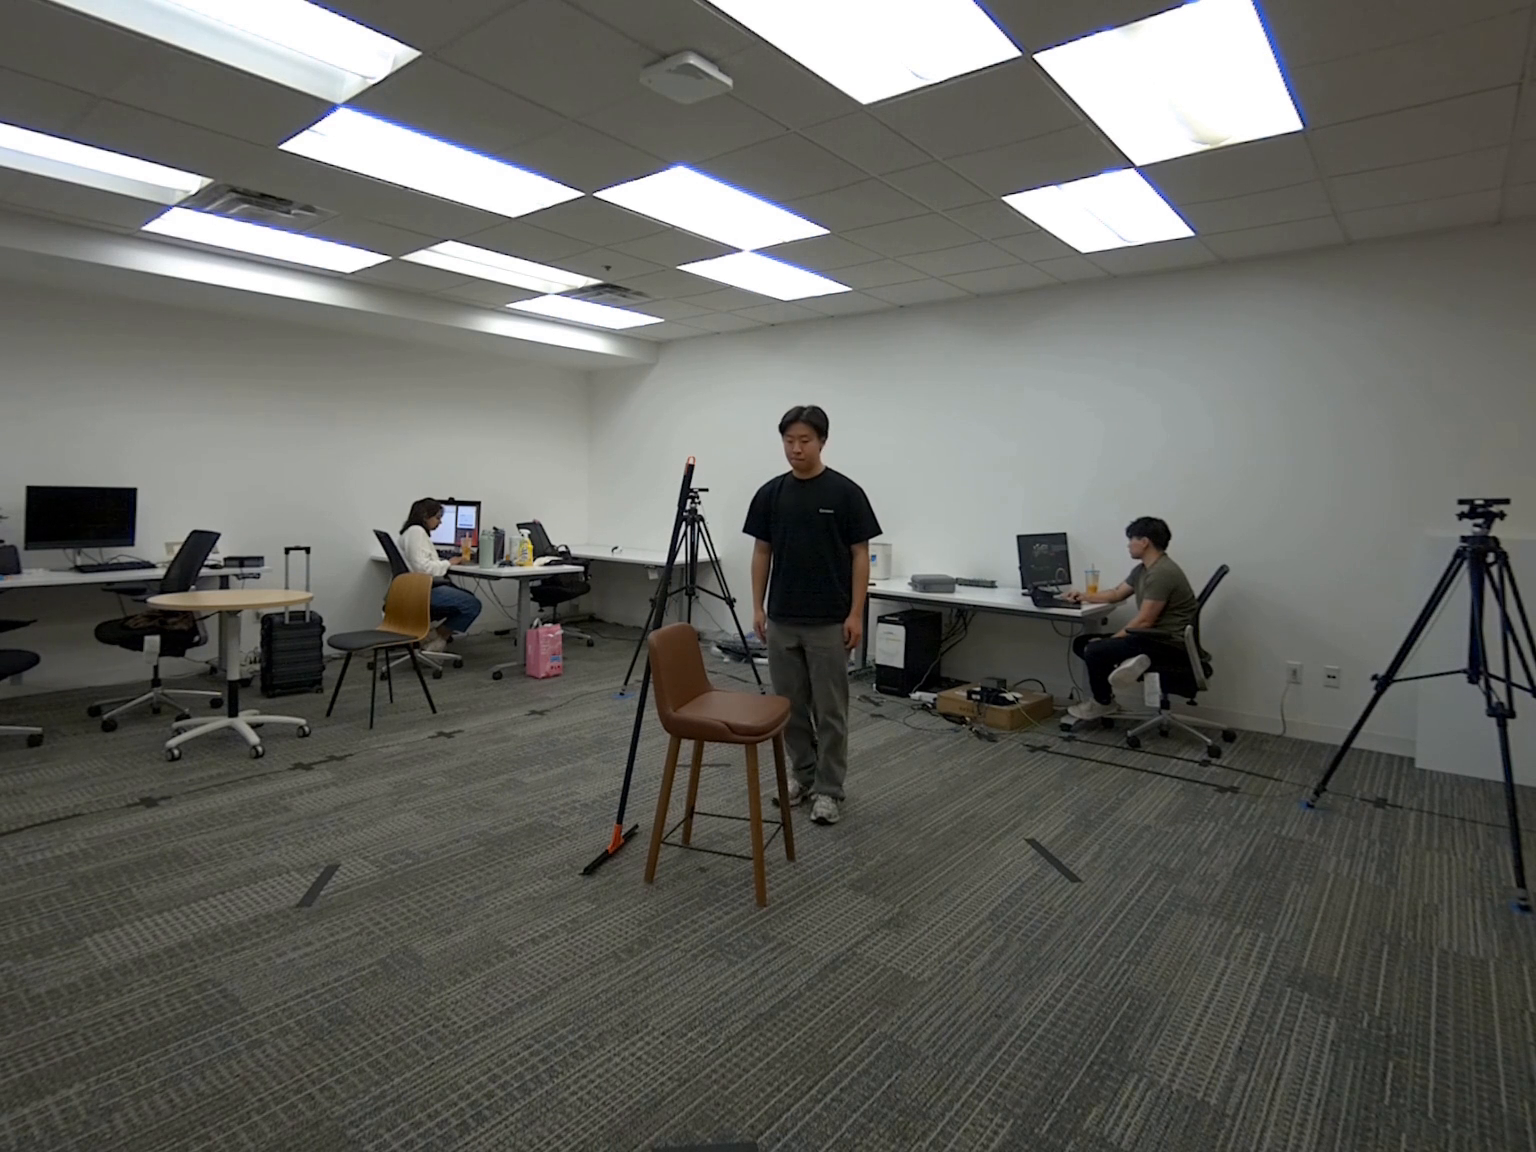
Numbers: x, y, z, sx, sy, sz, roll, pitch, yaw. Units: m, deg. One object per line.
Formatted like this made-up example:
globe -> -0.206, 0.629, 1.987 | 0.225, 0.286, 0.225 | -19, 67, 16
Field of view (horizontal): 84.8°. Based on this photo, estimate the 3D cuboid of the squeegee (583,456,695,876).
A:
squeegee -> -0.452, 0.304, 3.158 | 0.054, 1.530, 0.433 | 12, 6, 9
